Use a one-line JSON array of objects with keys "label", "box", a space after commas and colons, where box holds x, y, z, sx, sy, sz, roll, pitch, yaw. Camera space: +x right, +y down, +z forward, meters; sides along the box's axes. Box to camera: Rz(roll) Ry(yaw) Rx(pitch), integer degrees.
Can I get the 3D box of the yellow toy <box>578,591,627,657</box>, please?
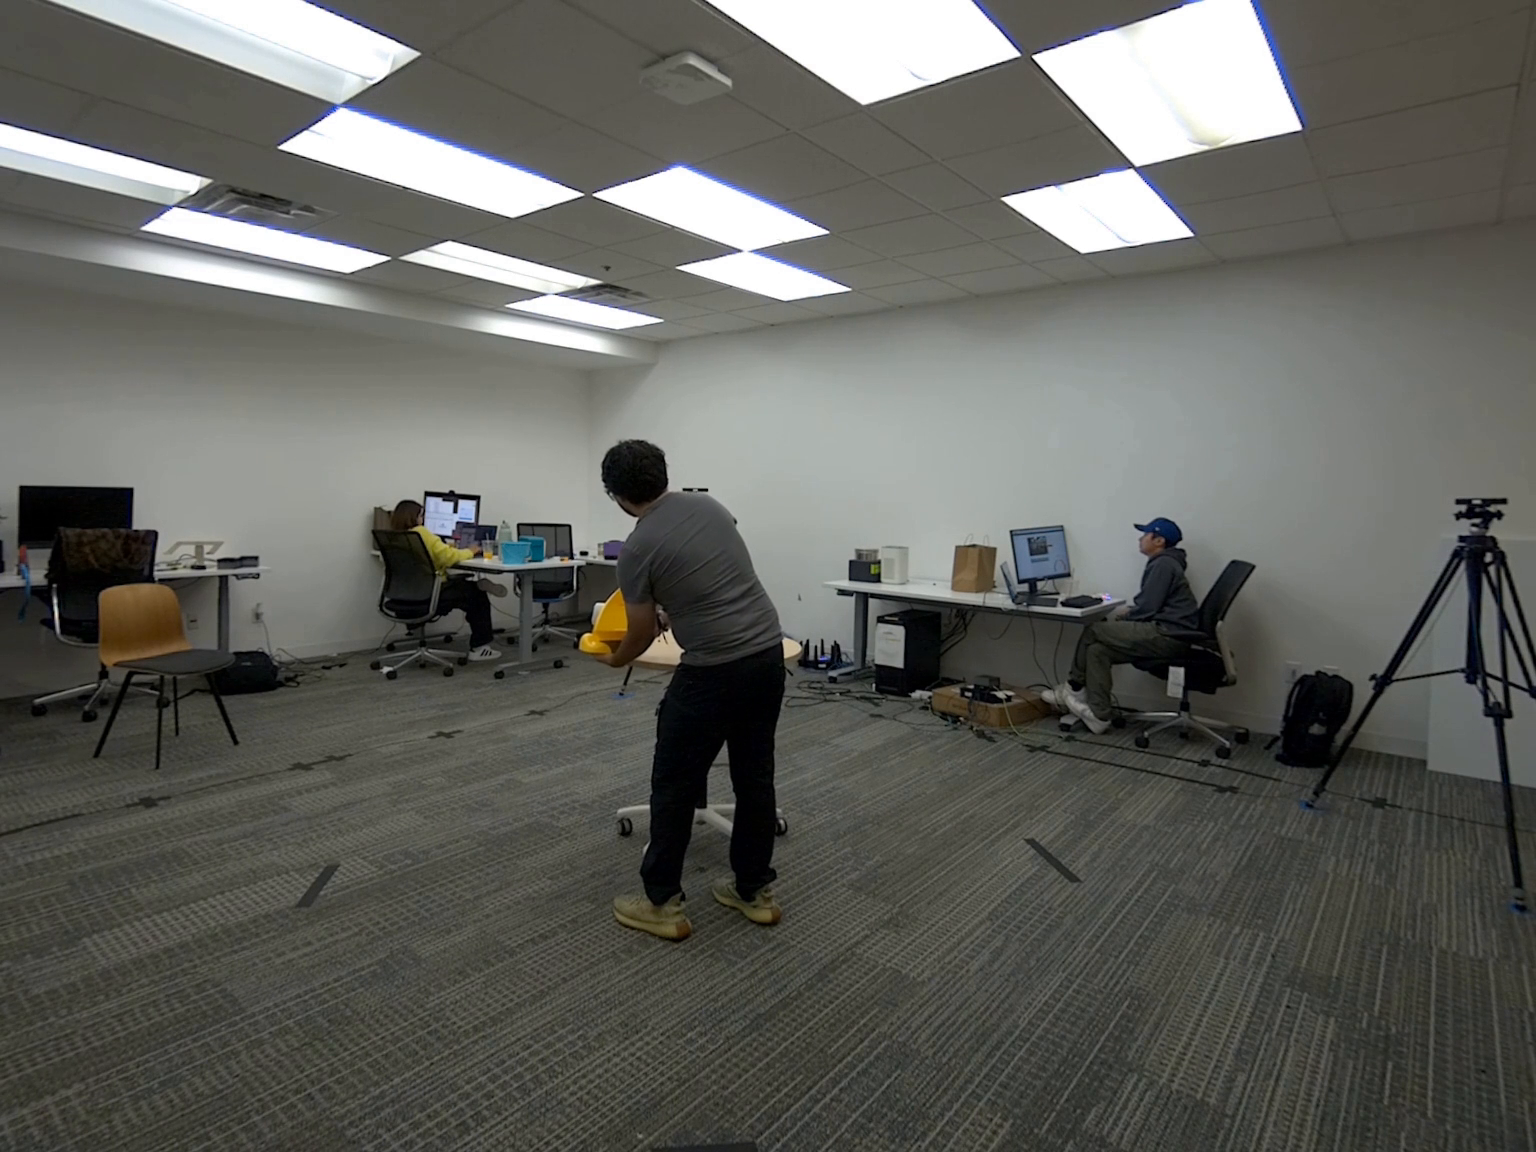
[{"label": "yellow toy", "box": [-0.564, 0.147, 3.023, 0.198, 0.231, 0.199, 4, 1, -36]}]
